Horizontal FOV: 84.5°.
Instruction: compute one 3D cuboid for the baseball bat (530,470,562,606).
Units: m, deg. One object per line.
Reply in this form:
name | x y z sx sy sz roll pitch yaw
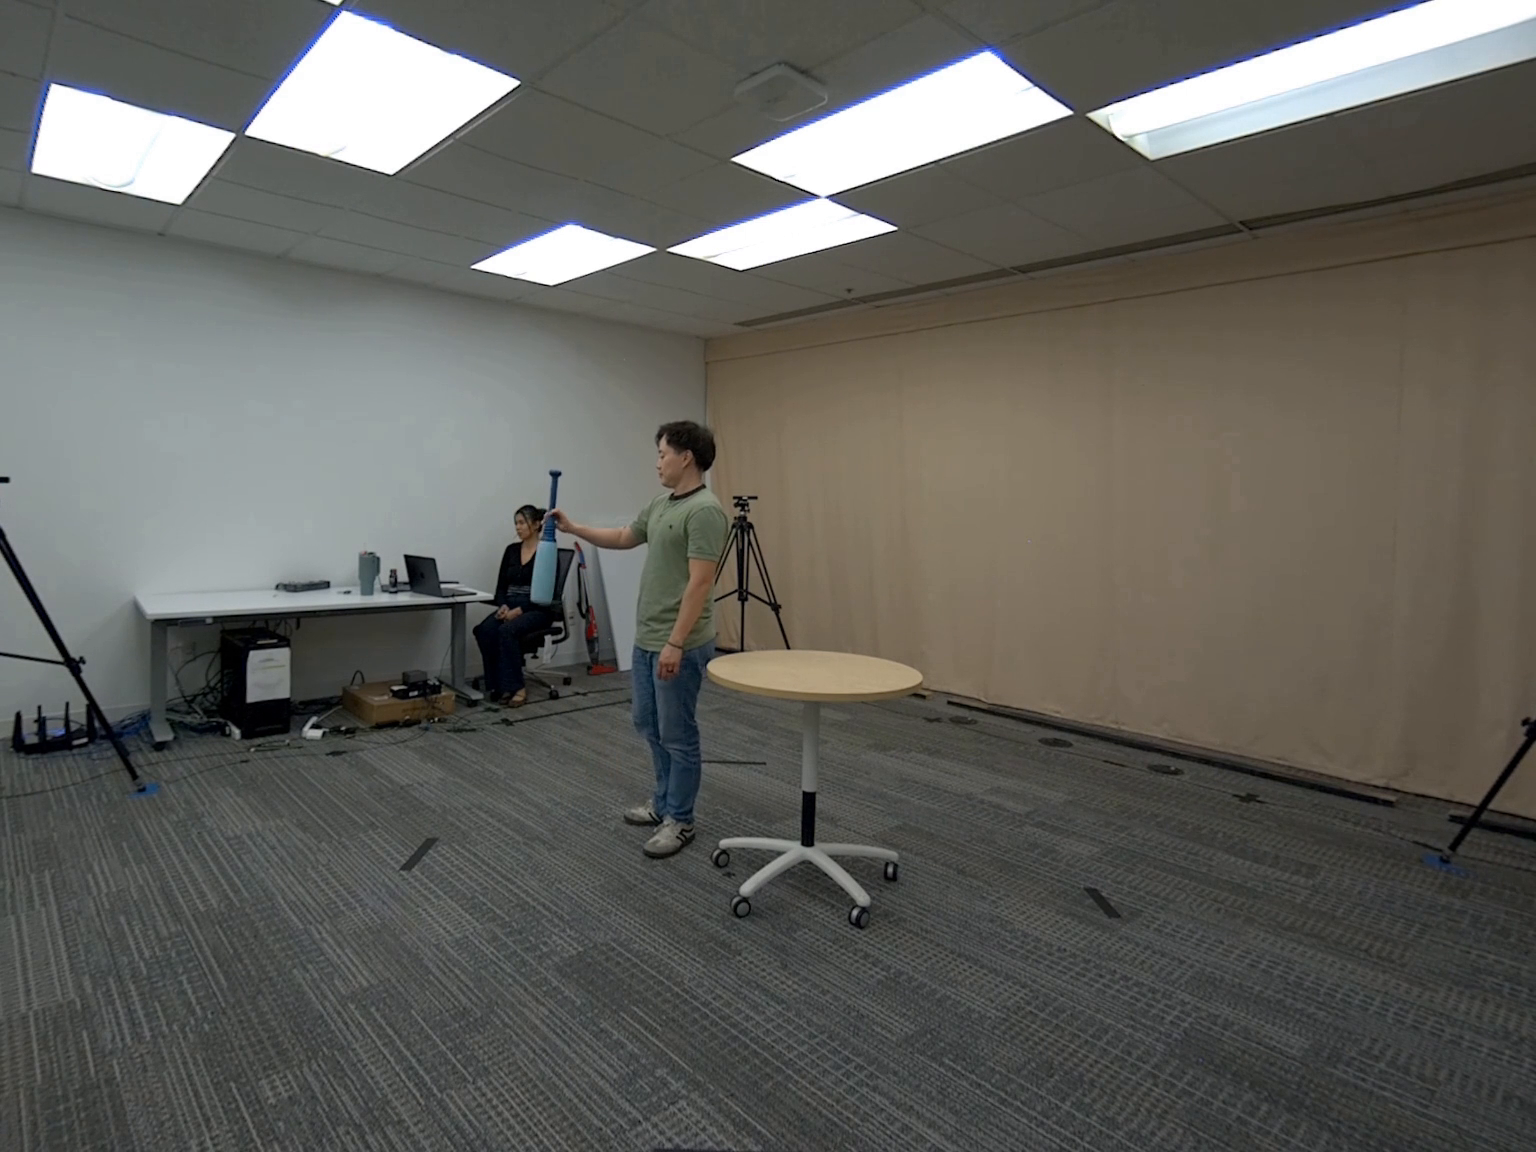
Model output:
baseball bat | -0.886 -0.165 3.399 0.089 0.544 0.089 4 -3 -1
